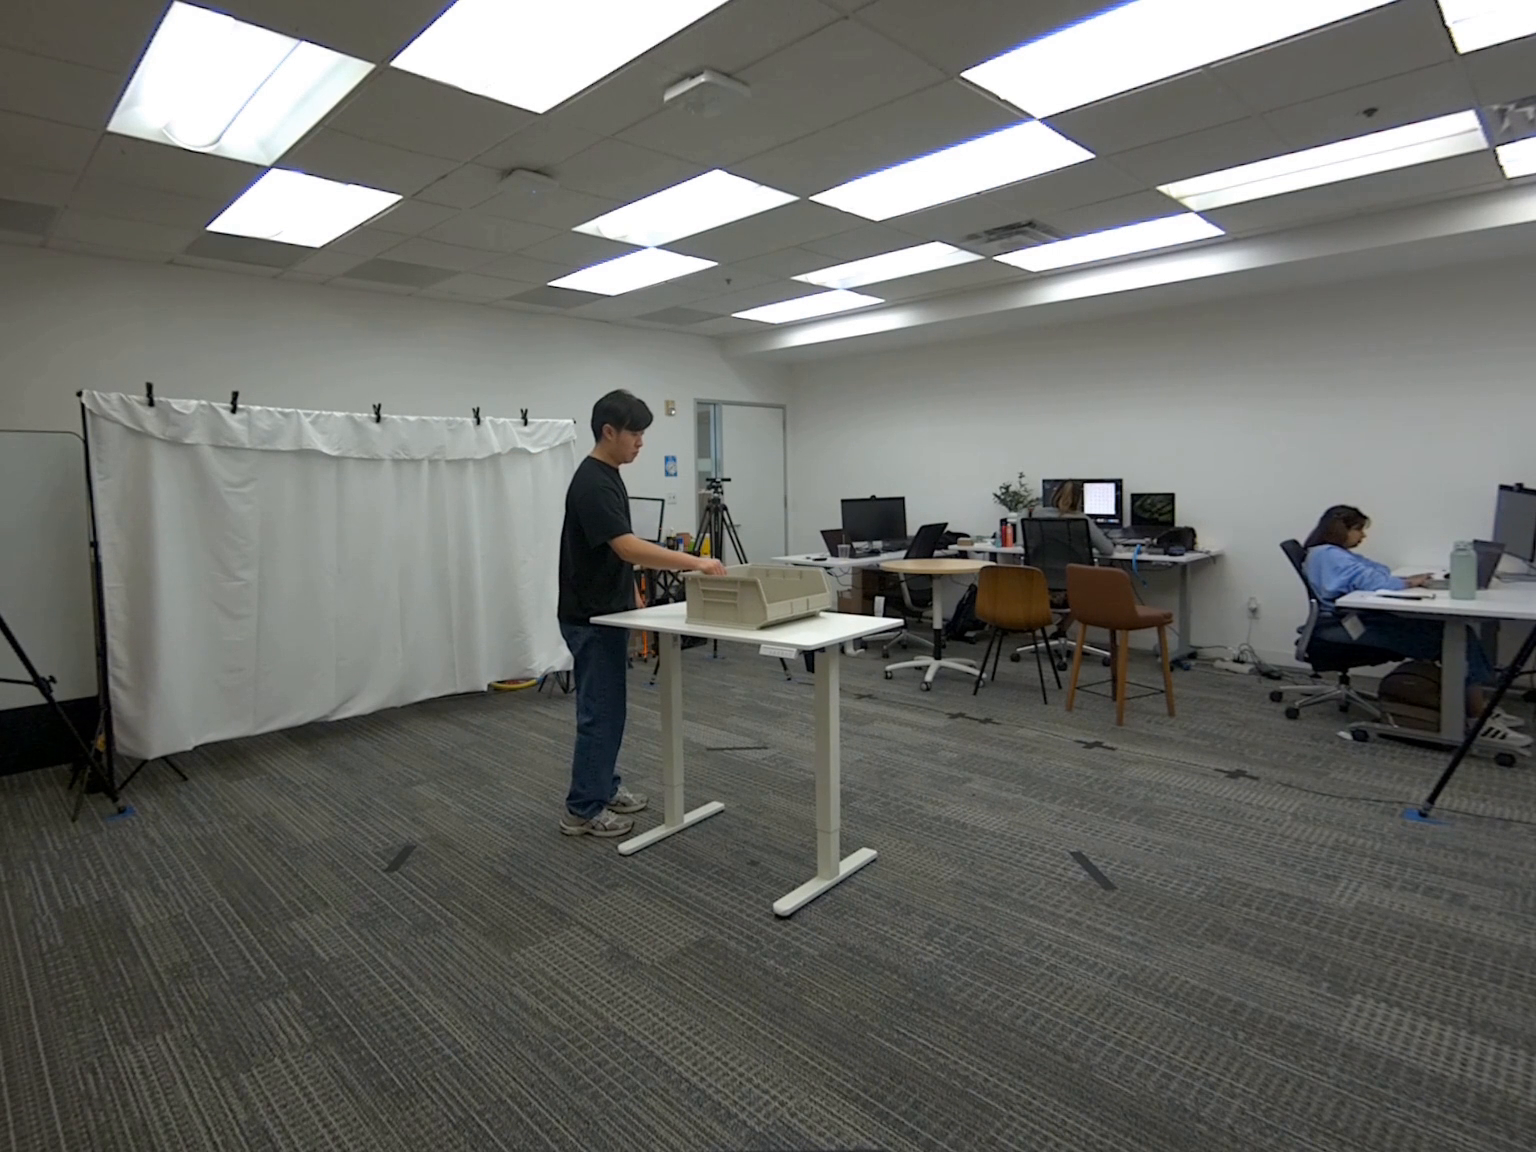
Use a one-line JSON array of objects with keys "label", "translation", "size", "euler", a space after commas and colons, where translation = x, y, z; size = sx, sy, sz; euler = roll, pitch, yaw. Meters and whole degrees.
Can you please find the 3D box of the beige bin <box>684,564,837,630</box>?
[{"label": "beige bin", "translation": [-0.033, 0.072, 3.095], "size": [0.388, 0.188, 0.412], "euler": [2, 7, 37]}]
